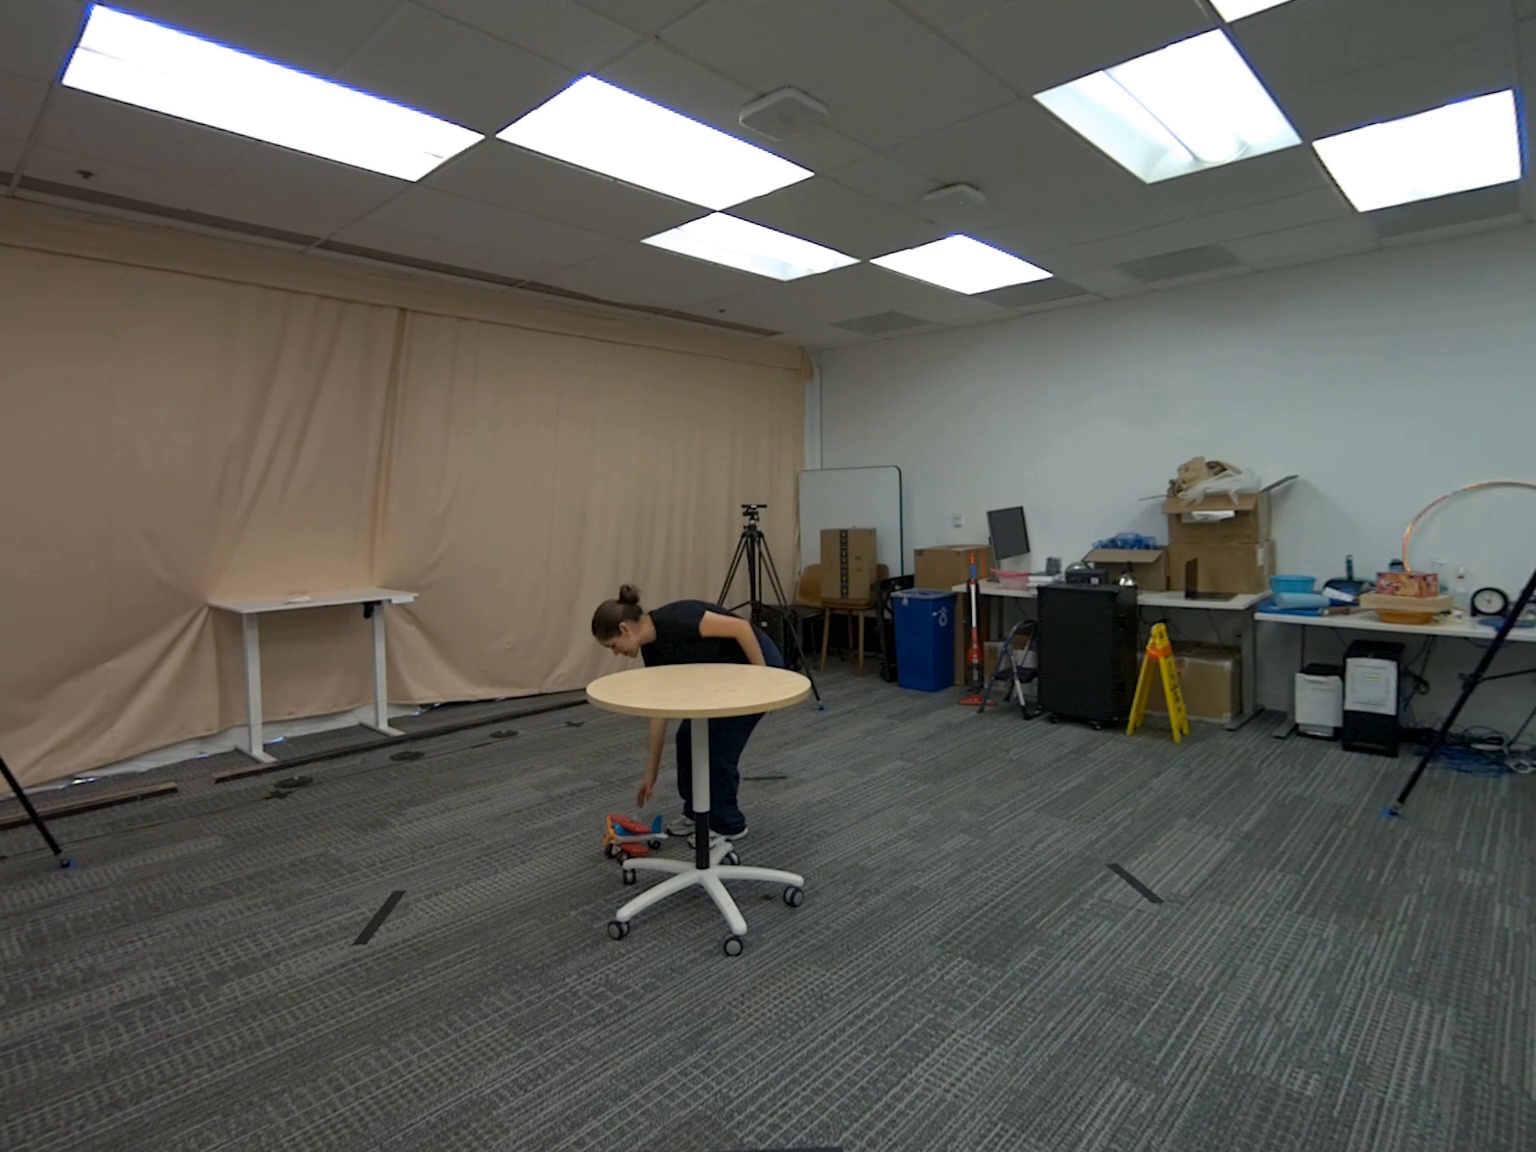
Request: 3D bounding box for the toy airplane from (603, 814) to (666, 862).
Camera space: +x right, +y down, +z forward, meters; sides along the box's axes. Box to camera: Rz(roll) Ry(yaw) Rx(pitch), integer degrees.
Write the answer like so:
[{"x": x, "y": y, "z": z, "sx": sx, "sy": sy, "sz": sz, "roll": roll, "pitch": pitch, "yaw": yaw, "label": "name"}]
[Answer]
[{"x": -0.536, "y": 1.045, "z": 3.392, "sx": 0.257, "sy": 0.156, "sz": 0.254, "roll": -1, "pitch": 7, "yaw": 21, "label": "toy airplane"}]
